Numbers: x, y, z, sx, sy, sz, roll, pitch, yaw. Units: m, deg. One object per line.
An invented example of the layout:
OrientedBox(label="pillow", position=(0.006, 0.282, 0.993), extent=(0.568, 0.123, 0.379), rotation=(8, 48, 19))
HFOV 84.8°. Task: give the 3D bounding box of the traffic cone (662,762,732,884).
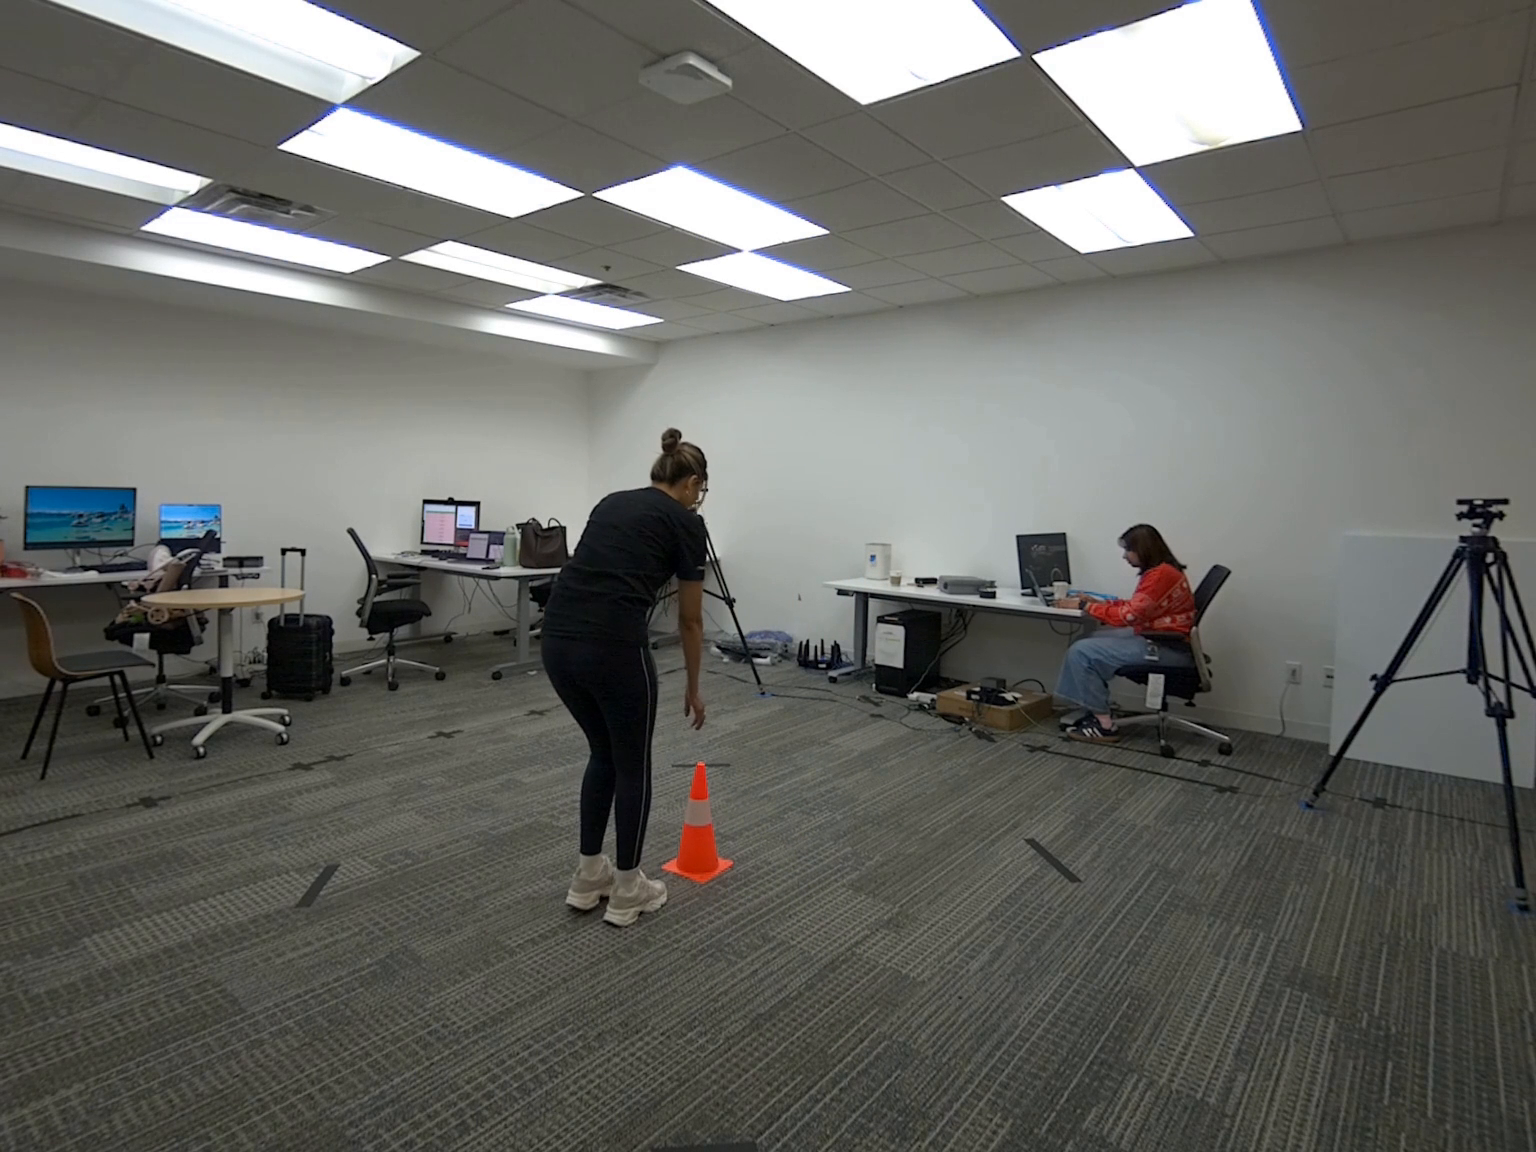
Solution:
OrientedBox(label="traffic cone", position=(-0.261, 0.883, 3.134), extent=(0.210, 0.383, 0.199), rotation=(4, 3, 32))
